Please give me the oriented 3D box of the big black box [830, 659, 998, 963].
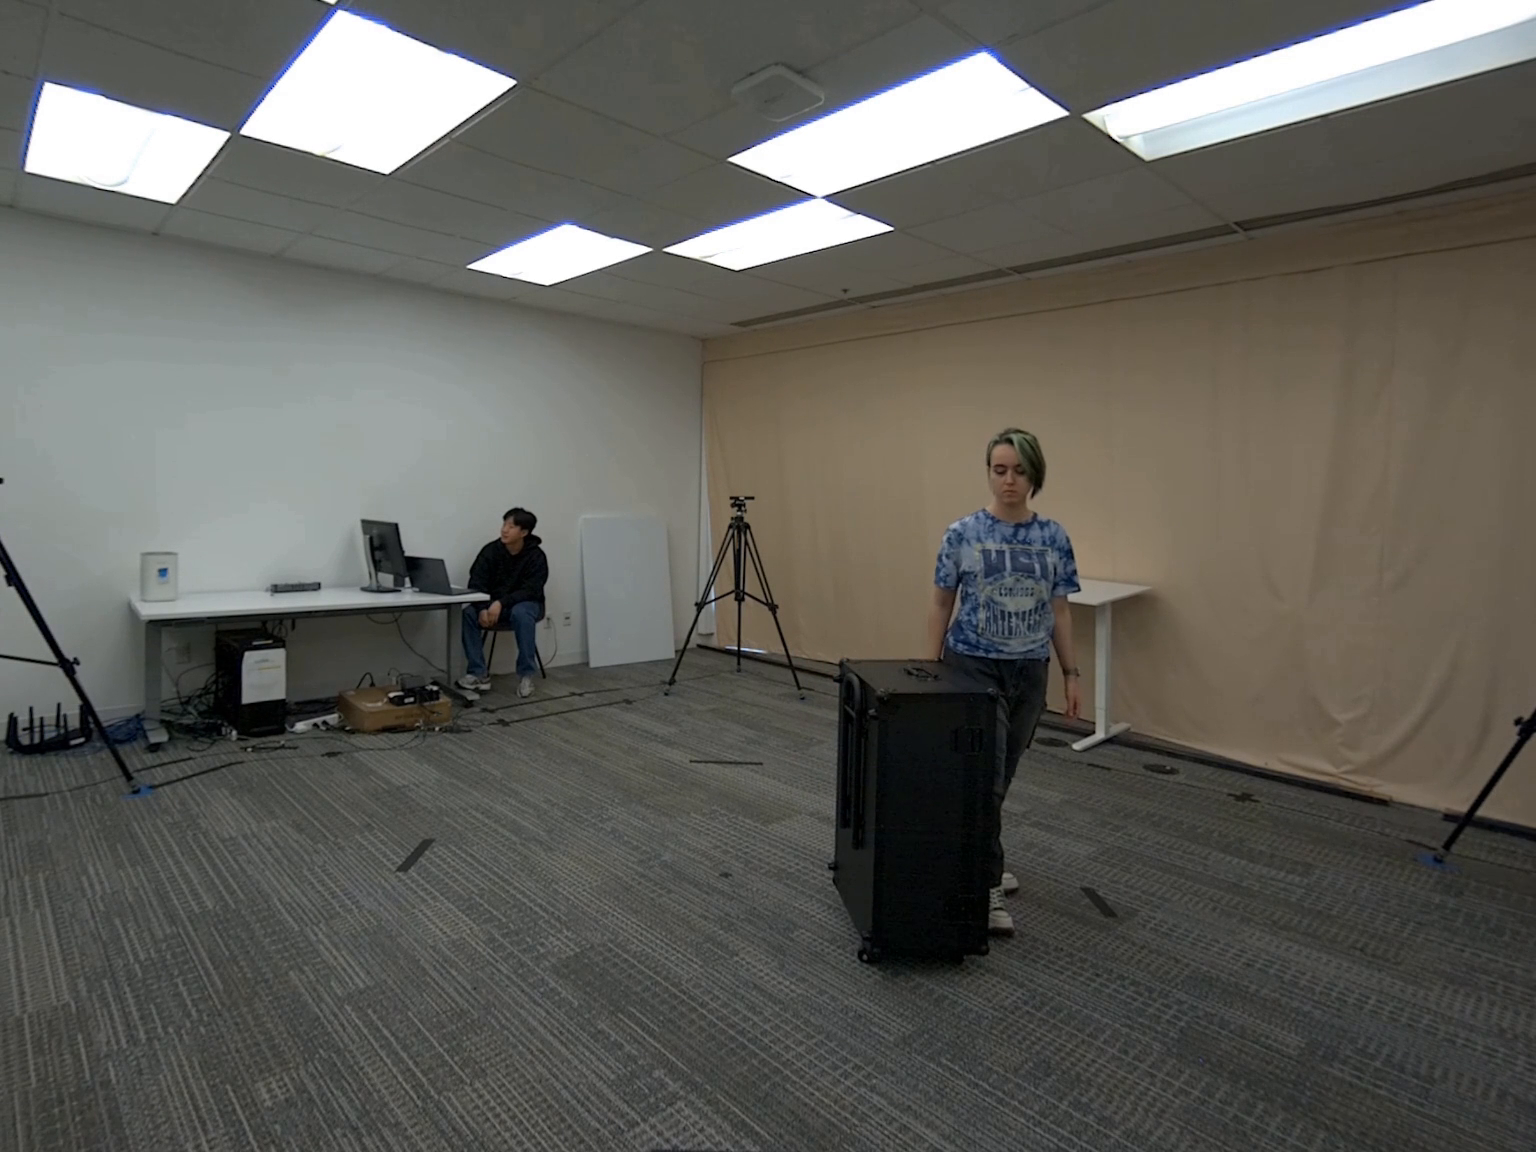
[{"bbox_3d":[0.434,0.736,2.655,0.394,0.859,0.525,1,4,-6],"label":"big black box"}]
